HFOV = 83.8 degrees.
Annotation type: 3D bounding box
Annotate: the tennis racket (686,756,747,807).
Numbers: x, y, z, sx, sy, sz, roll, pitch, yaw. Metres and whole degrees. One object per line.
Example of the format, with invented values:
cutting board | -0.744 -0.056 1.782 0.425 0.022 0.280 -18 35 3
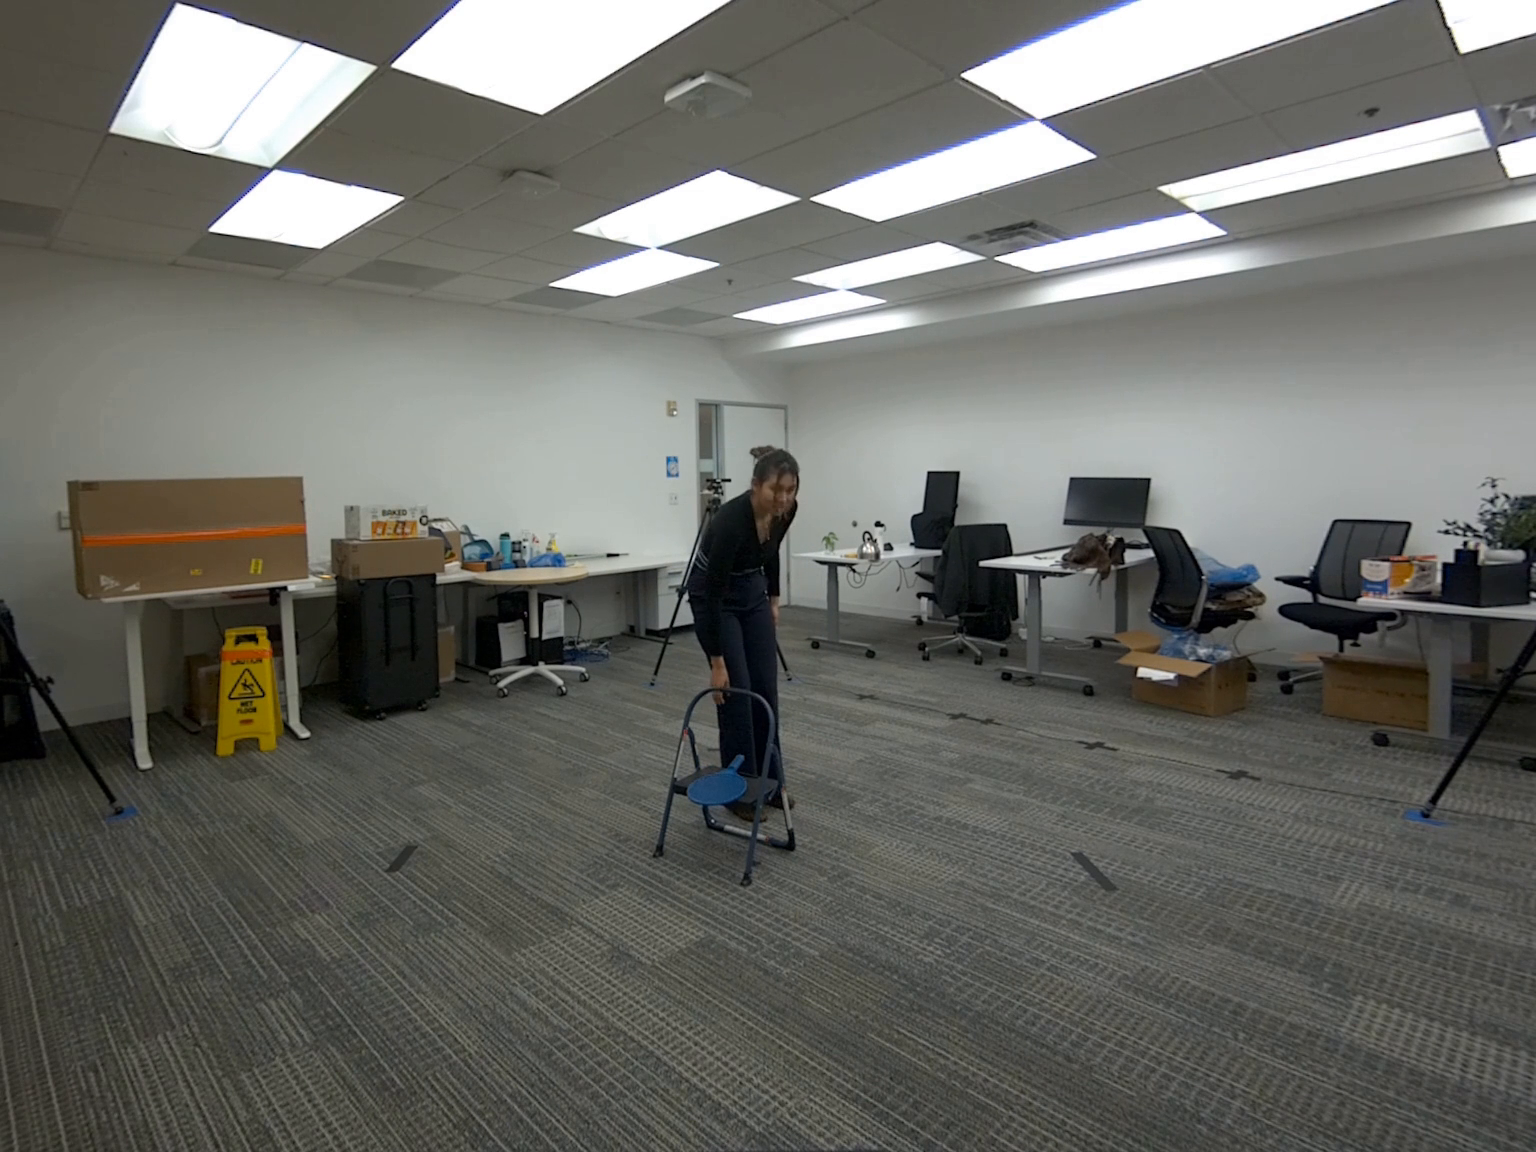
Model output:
tennis racket | -0.178 0.768 3.201 0.215 0.031 0.433 -2 8 6
